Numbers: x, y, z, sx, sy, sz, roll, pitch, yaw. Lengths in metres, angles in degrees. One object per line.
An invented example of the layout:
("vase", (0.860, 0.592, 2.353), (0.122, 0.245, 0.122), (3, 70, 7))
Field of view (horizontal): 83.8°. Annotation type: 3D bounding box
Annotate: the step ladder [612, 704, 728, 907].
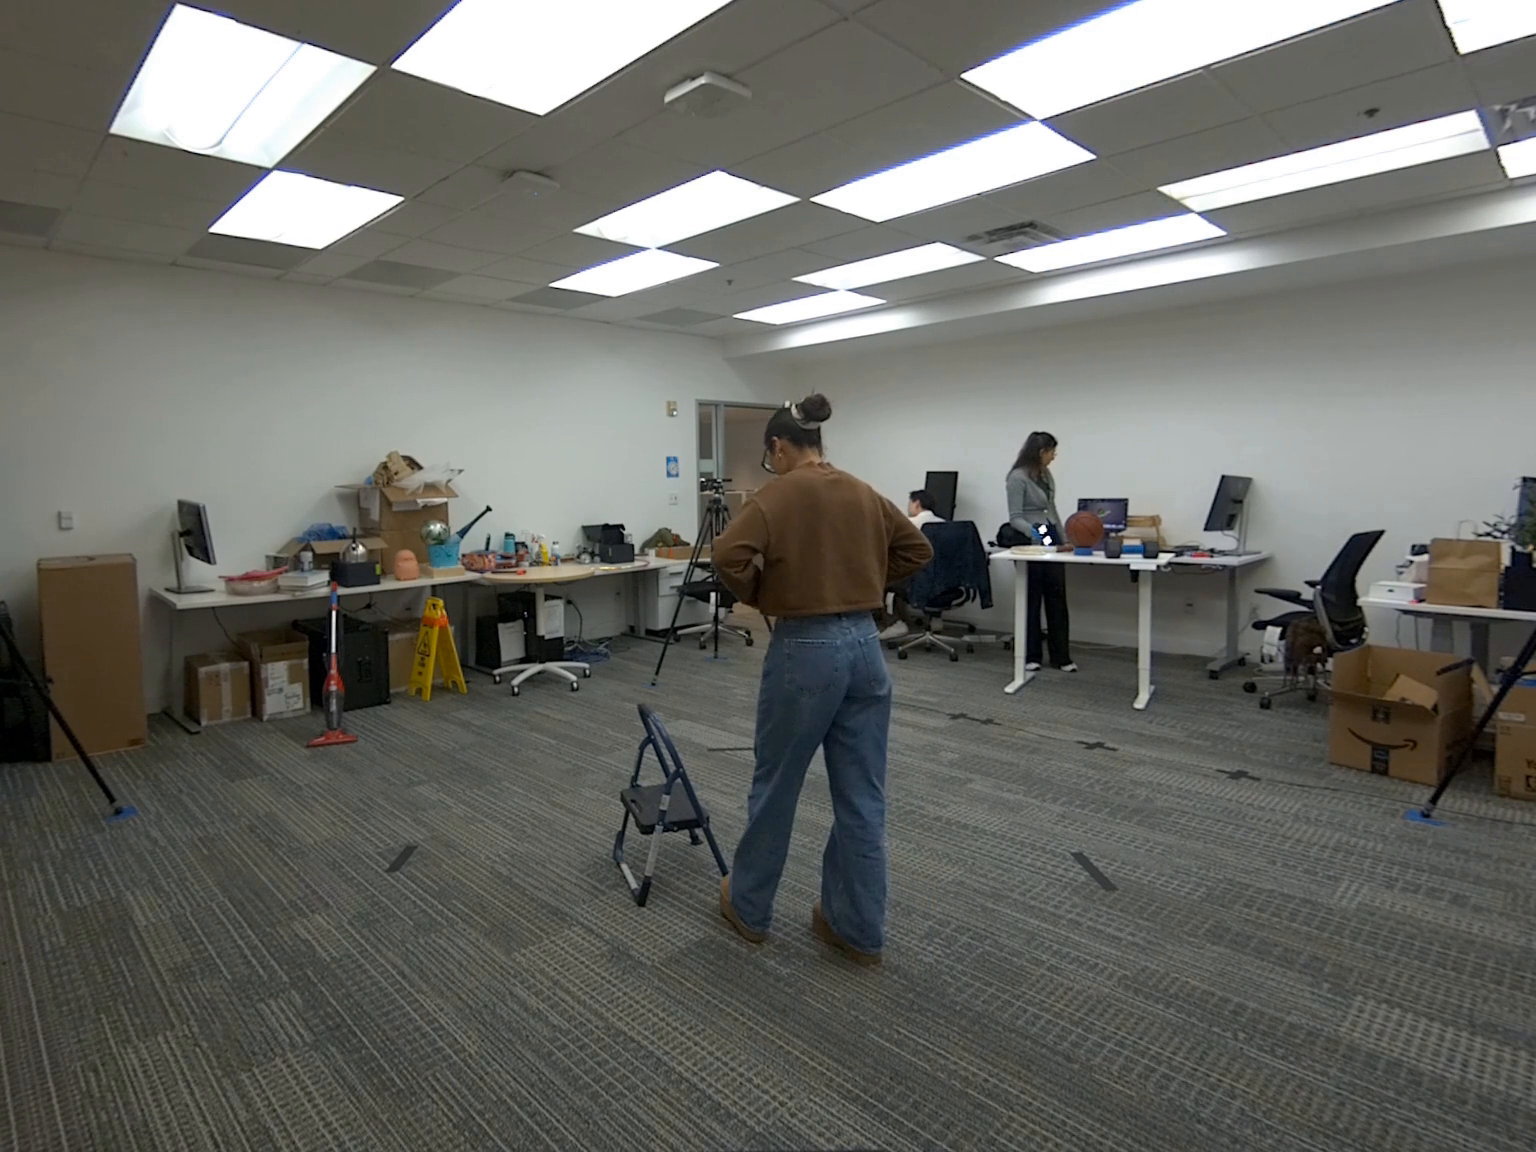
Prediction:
("step ladder", (-0.346, 0.756, 3.030), (0.343, 0.604, 0.440), (-2, 5, -22))
